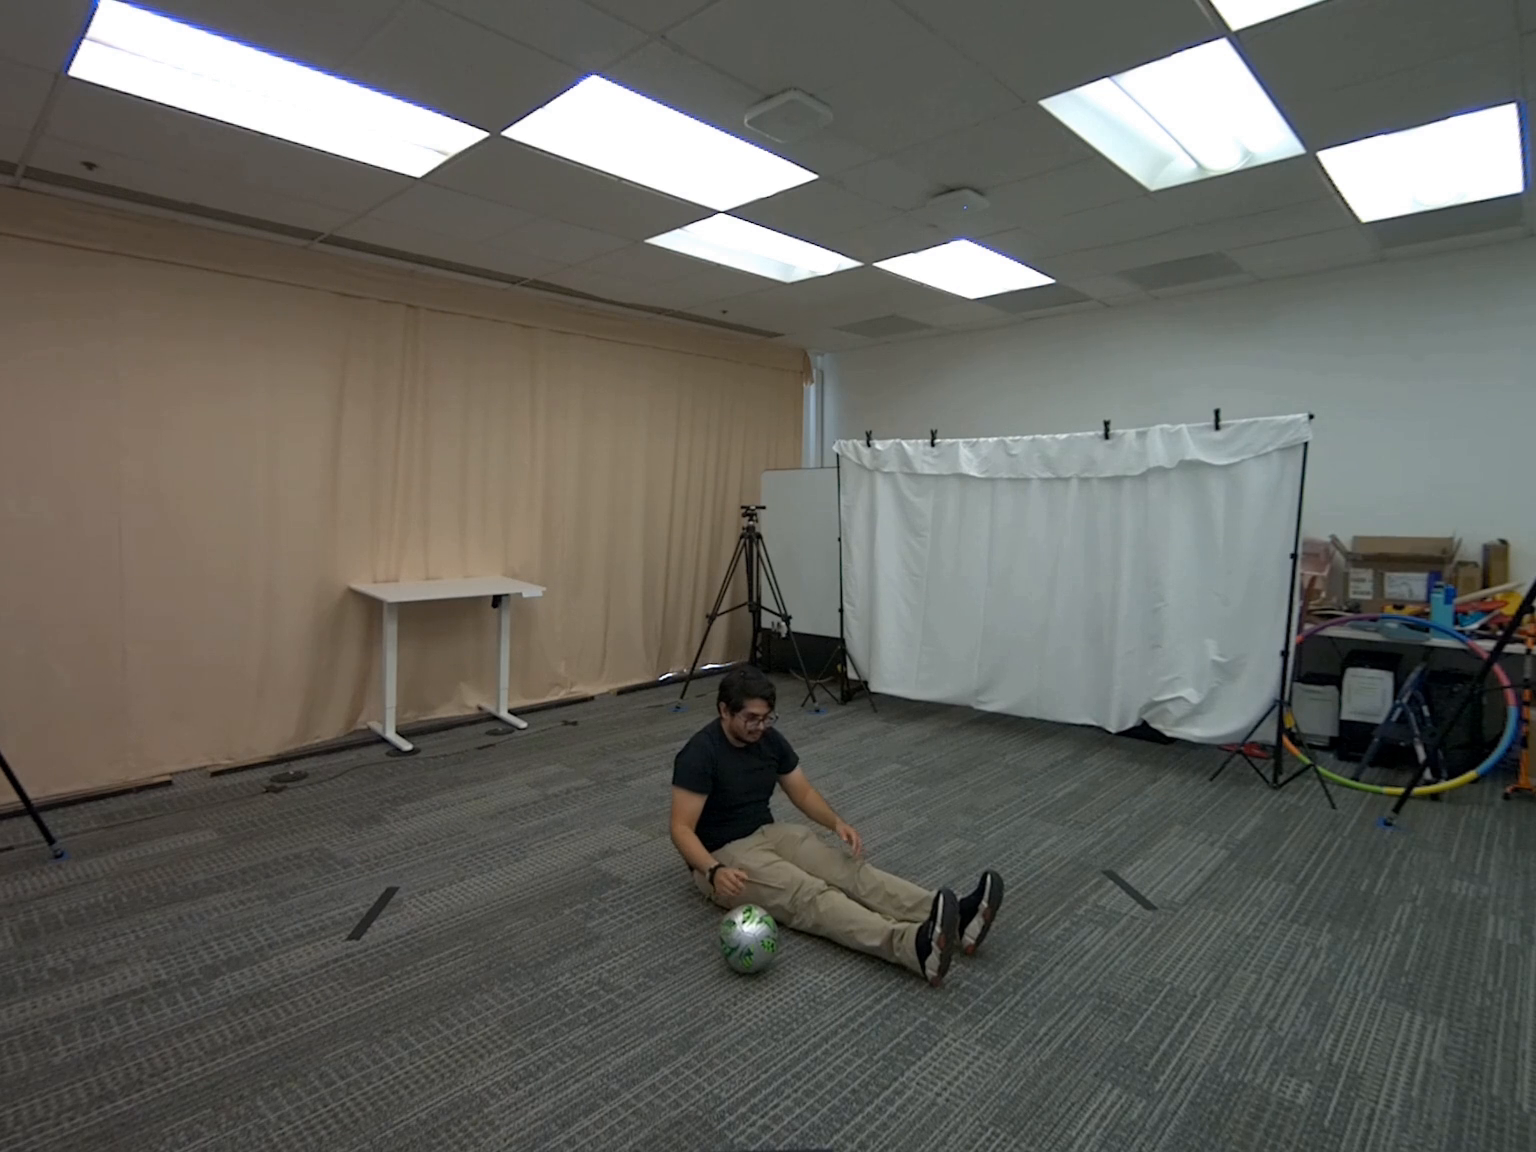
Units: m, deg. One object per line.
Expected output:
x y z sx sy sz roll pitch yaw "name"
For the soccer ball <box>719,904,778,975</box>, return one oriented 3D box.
-0.061 1.081 2.530 0.187 0.187 0.188 0 4 -2 "soccer ball"
